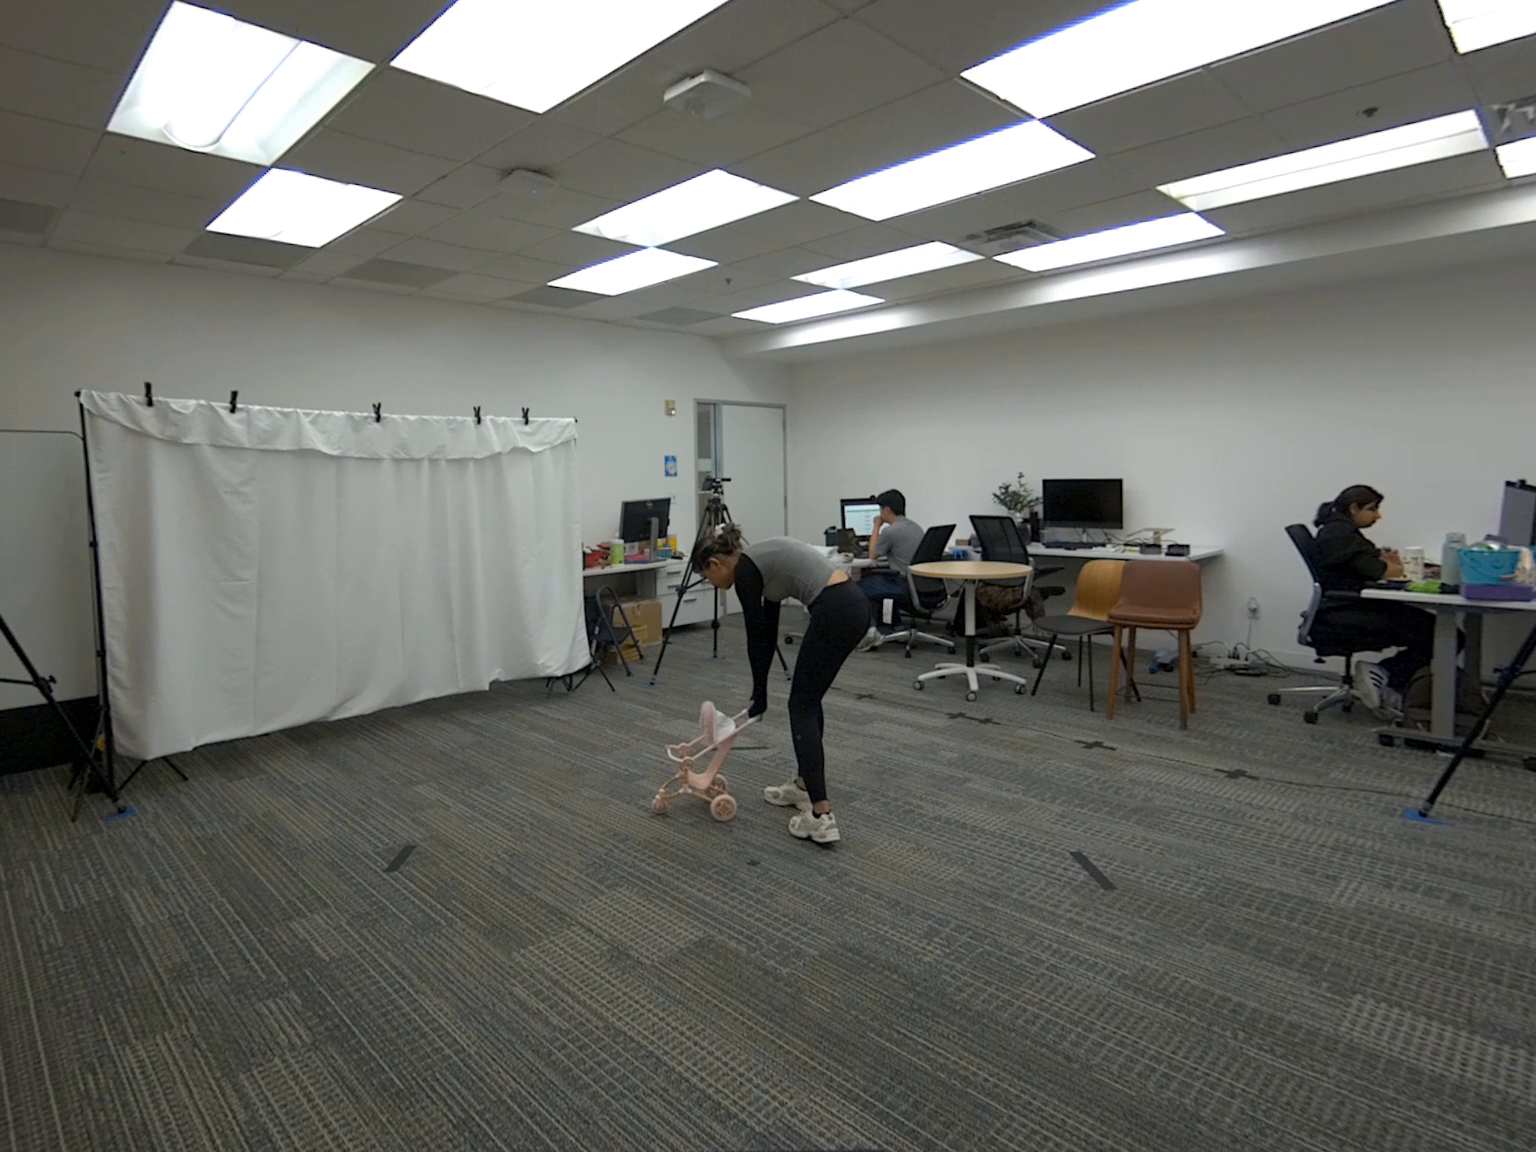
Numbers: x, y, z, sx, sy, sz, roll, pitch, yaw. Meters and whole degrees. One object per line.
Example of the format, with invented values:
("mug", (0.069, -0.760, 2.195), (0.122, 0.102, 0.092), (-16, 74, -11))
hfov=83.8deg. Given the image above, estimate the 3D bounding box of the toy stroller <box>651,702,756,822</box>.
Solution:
("toy stroller", (-0.272, 0.769, 3.596), (0.339, 0.534, 0.283), (14, 1, -6))
